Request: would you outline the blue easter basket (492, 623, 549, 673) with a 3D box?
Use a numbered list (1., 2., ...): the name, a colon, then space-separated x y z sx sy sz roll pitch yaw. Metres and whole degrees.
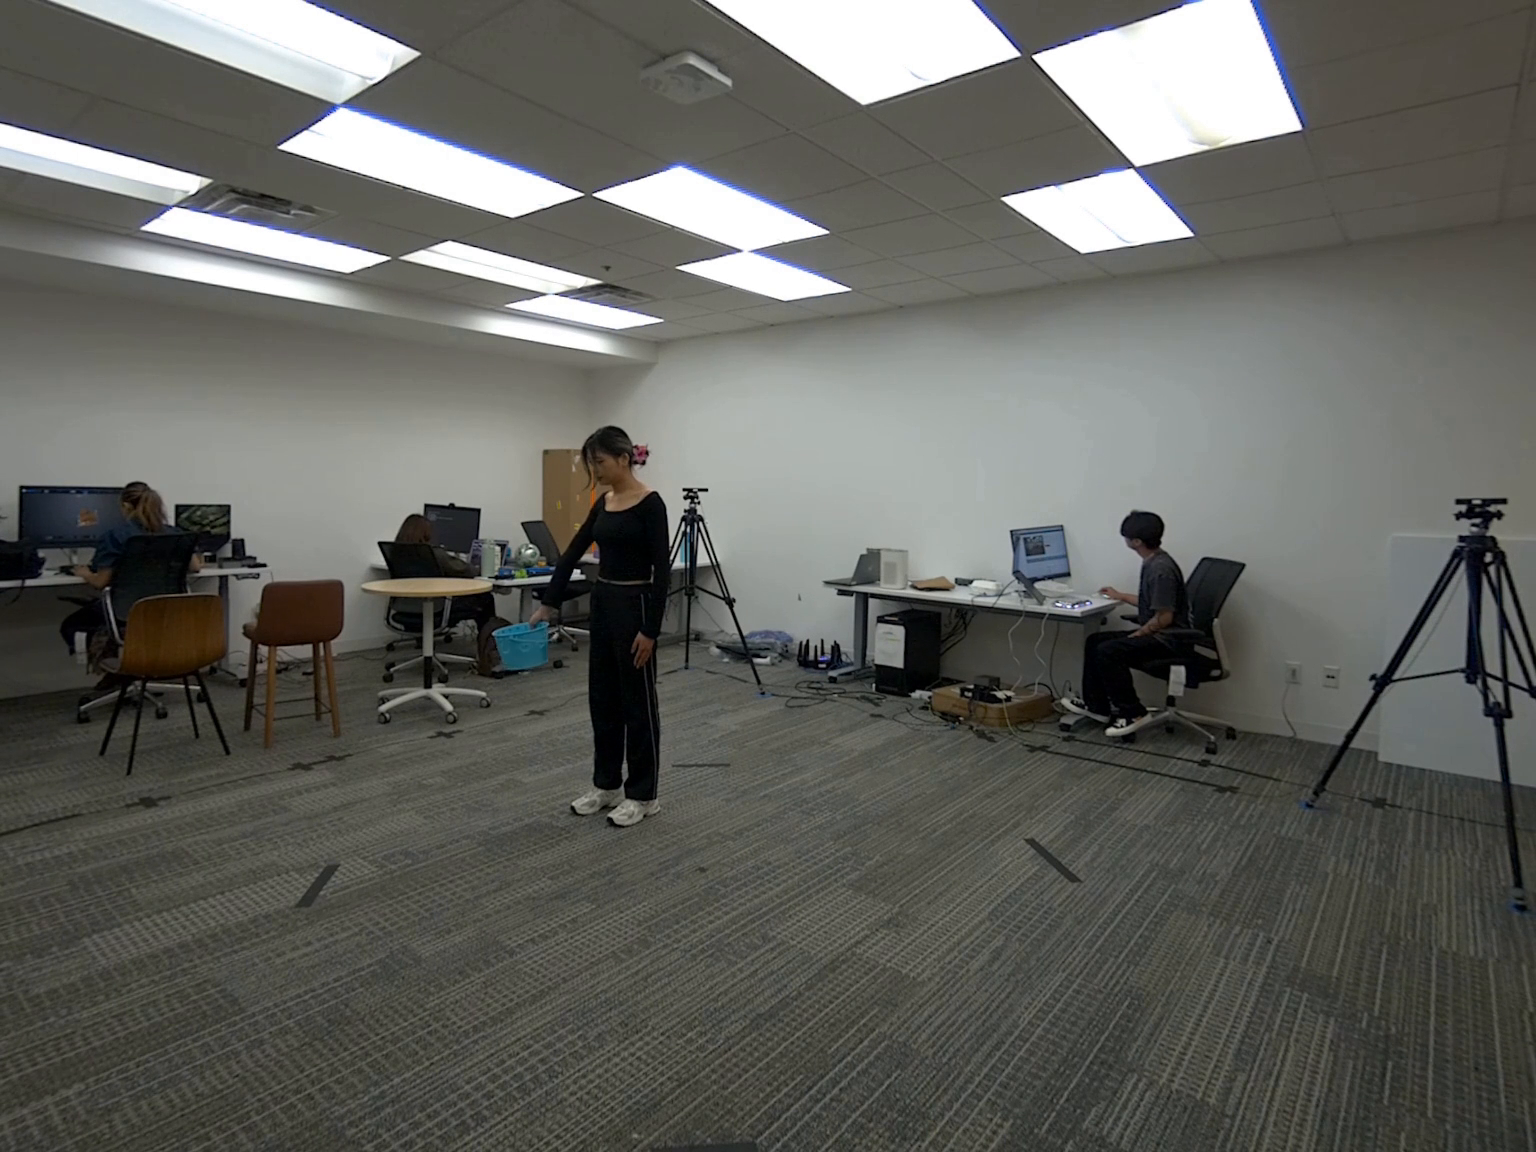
1. blue easter basket: -1.049 0.291 3.551 0.243 0.155 0.245 -8 7 -1
